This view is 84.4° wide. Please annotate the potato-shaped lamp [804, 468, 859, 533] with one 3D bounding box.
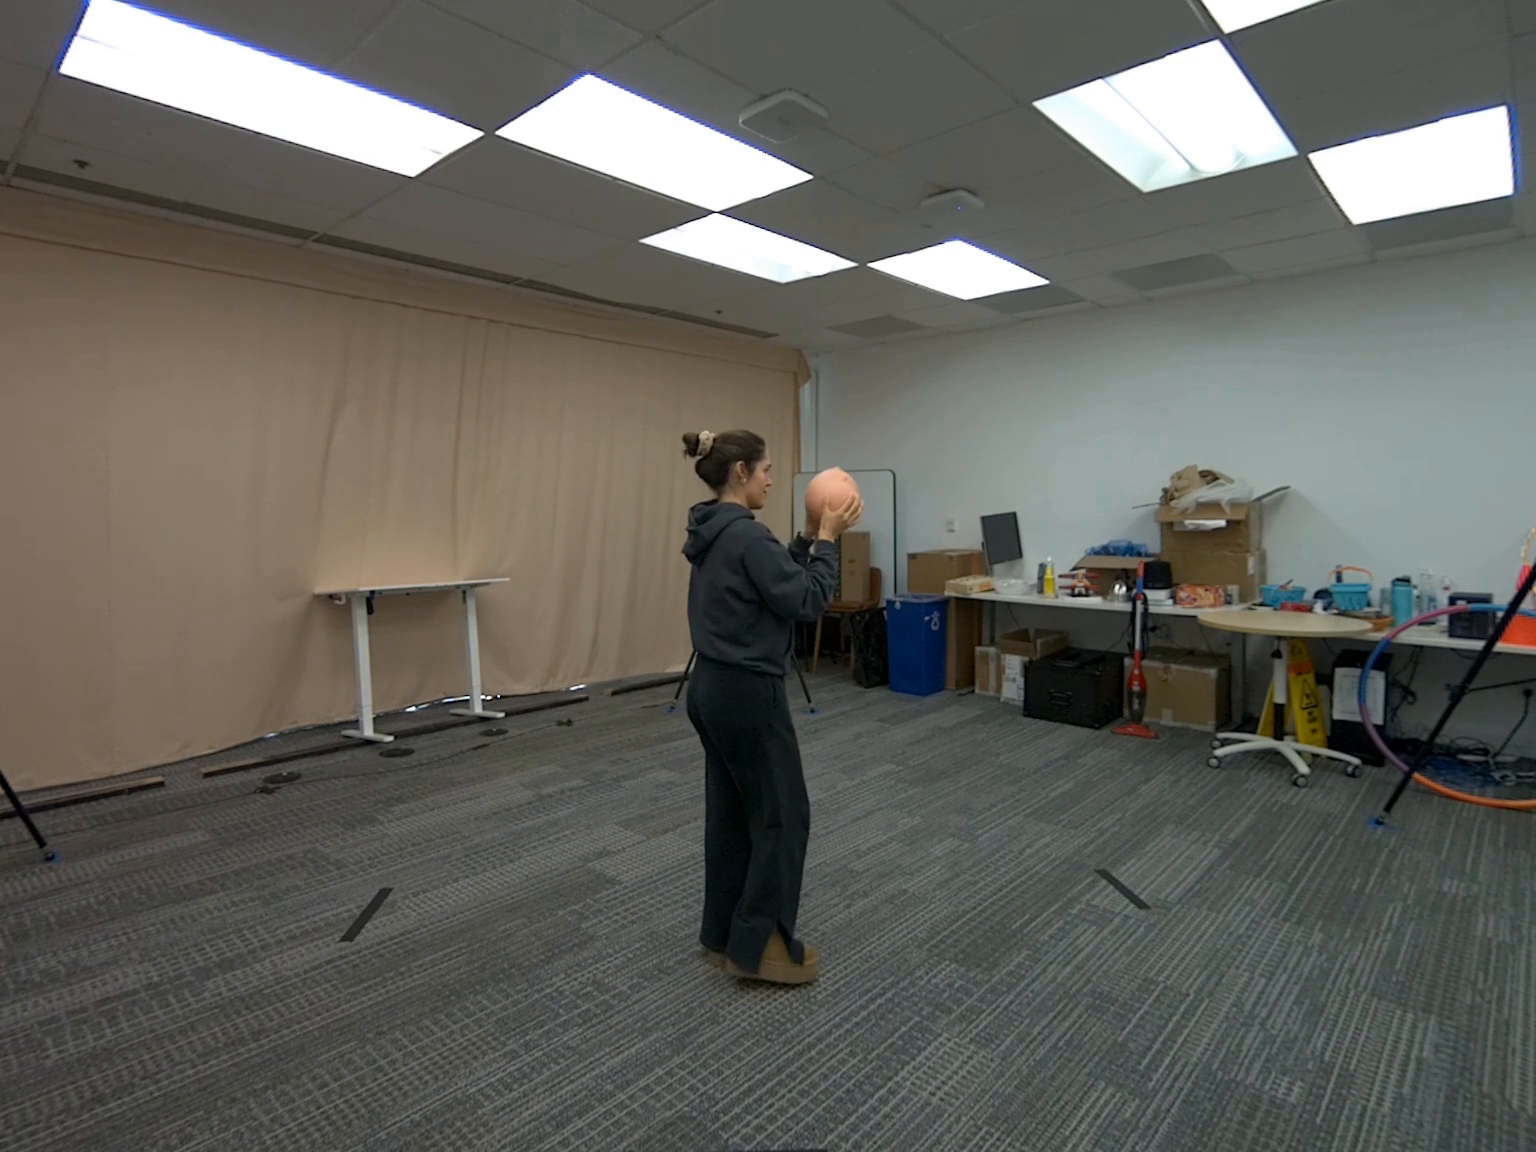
[{"bbox_3d":[0.212,-0.231,2.566,0.171,0.161,0.202,-29,22,-2],"label":"potato-shaped lamp"}]
